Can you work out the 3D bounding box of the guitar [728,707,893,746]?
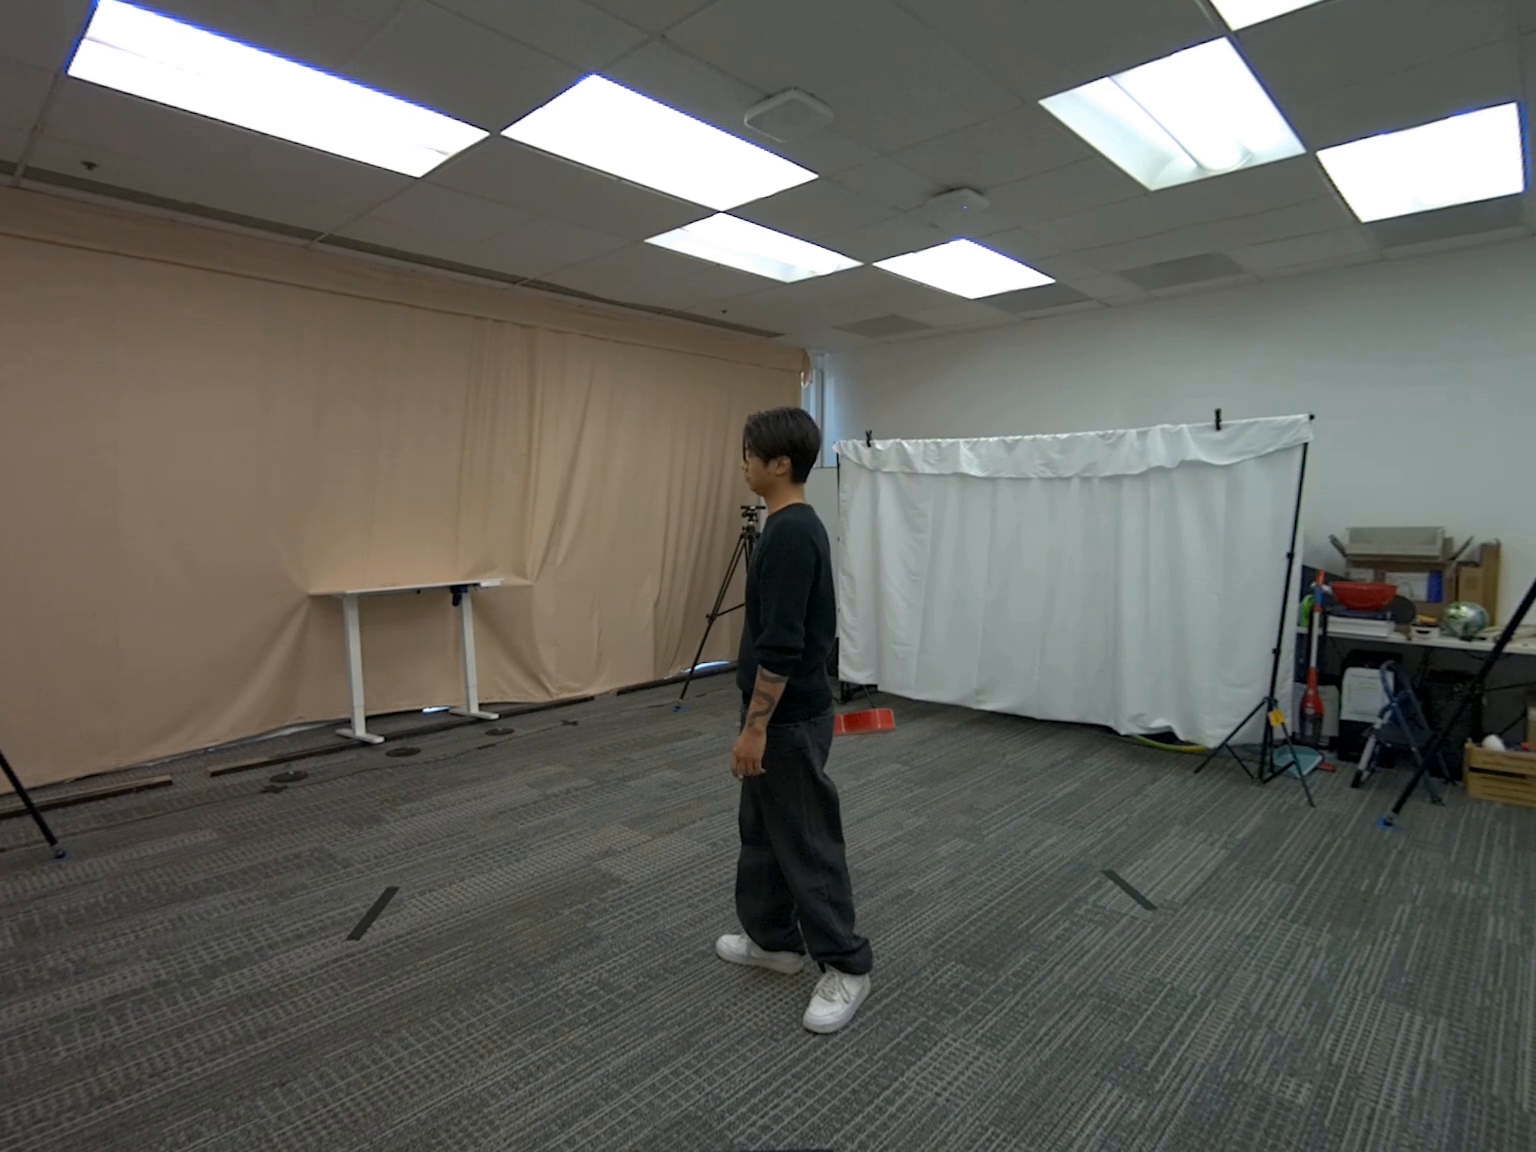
[{"bbox_3d":[0.138,0.487,2.718,0.503,0.071,0.189,-7,-15,11],"label":"guitar"}]
